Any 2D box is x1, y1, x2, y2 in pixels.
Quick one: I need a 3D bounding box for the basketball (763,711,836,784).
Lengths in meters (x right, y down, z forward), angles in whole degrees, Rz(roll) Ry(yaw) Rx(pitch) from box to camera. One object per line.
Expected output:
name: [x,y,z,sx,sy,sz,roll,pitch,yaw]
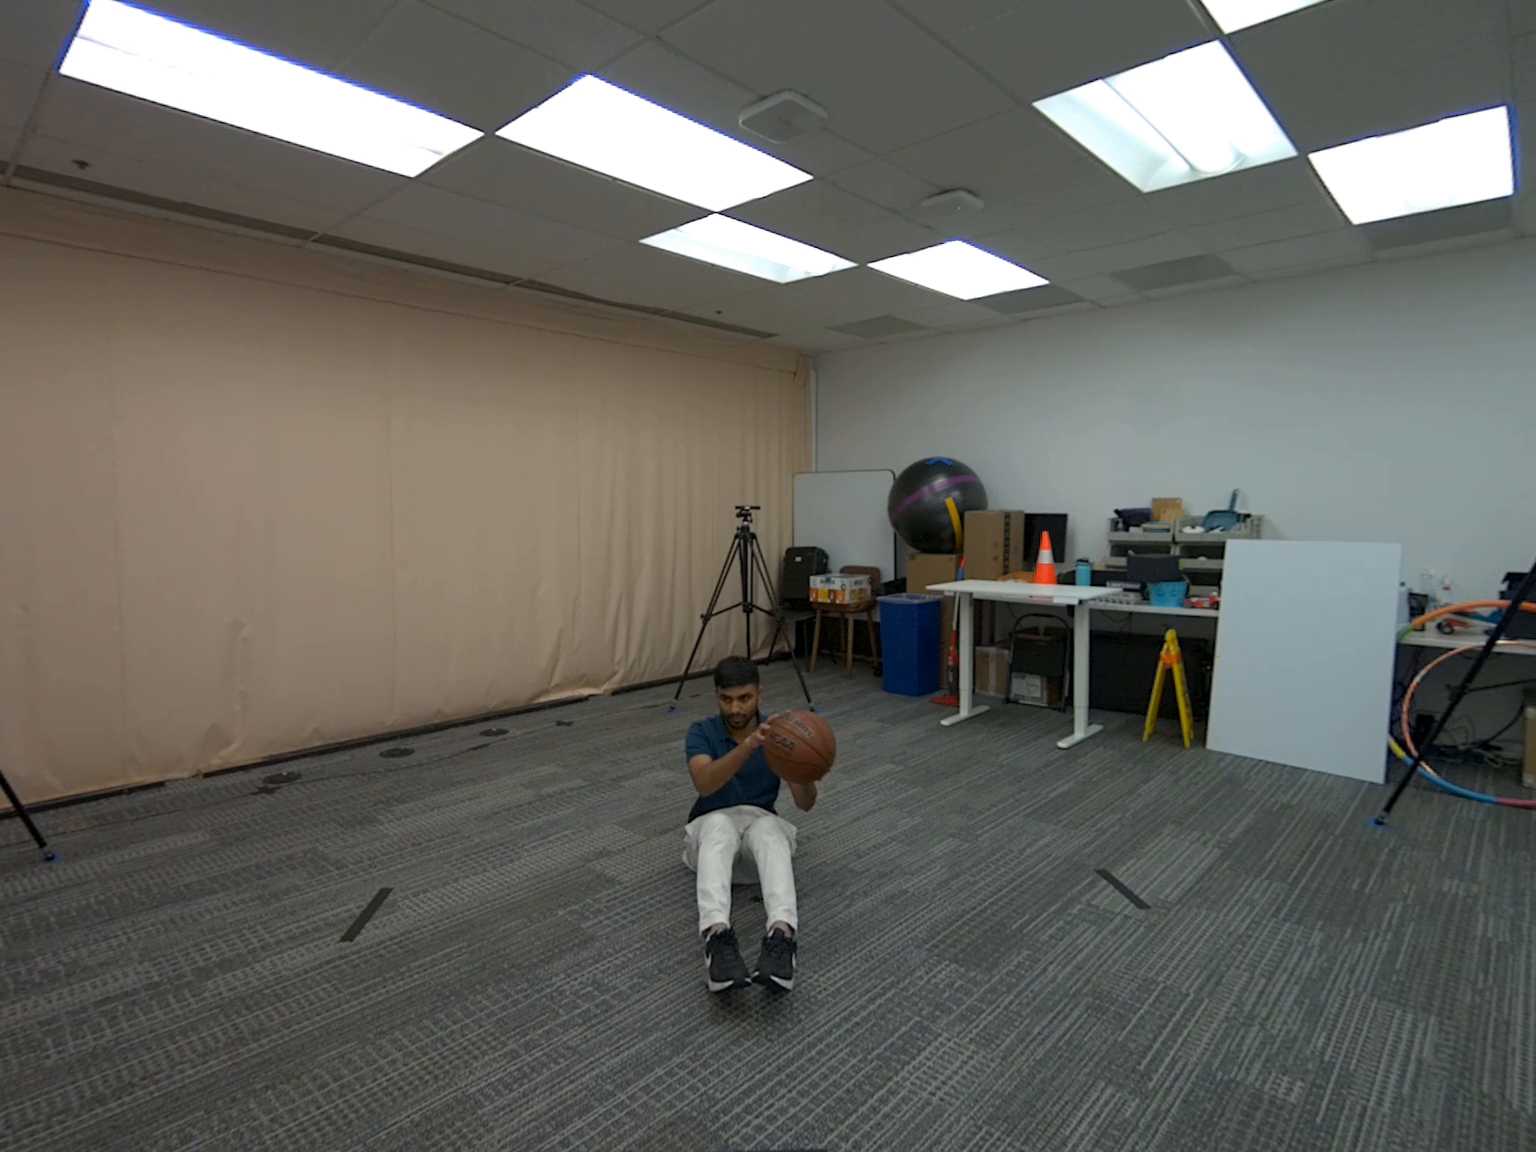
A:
basketball: [0.103,0.573,2.777,0.236,0.235,0.237,0,4,-2]
